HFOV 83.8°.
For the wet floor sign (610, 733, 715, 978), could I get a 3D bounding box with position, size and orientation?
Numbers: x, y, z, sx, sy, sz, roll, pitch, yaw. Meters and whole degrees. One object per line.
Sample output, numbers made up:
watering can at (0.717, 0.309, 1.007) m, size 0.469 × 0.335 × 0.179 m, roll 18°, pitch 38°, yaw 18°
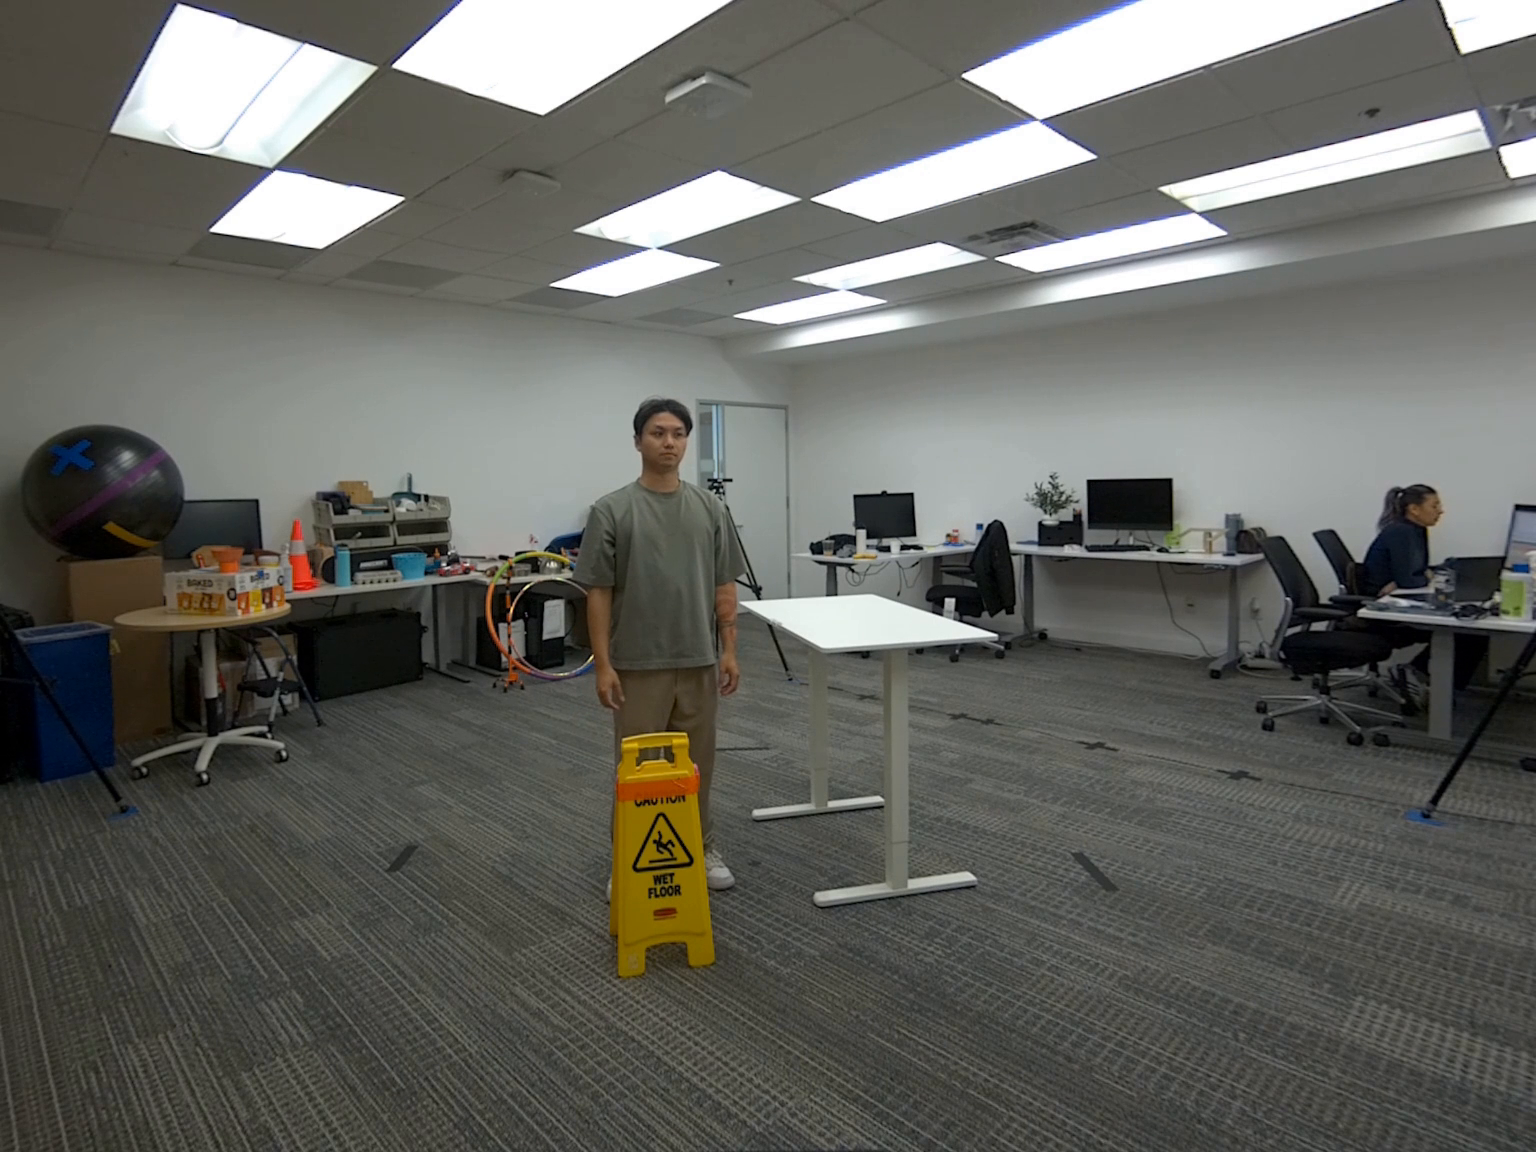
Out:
wet floor sign at (-0.327, 0.792, 2.532) m, size 0.279 × 0.642 × 0.295 m, roll -4°, pitch 6°, yaw -14°
